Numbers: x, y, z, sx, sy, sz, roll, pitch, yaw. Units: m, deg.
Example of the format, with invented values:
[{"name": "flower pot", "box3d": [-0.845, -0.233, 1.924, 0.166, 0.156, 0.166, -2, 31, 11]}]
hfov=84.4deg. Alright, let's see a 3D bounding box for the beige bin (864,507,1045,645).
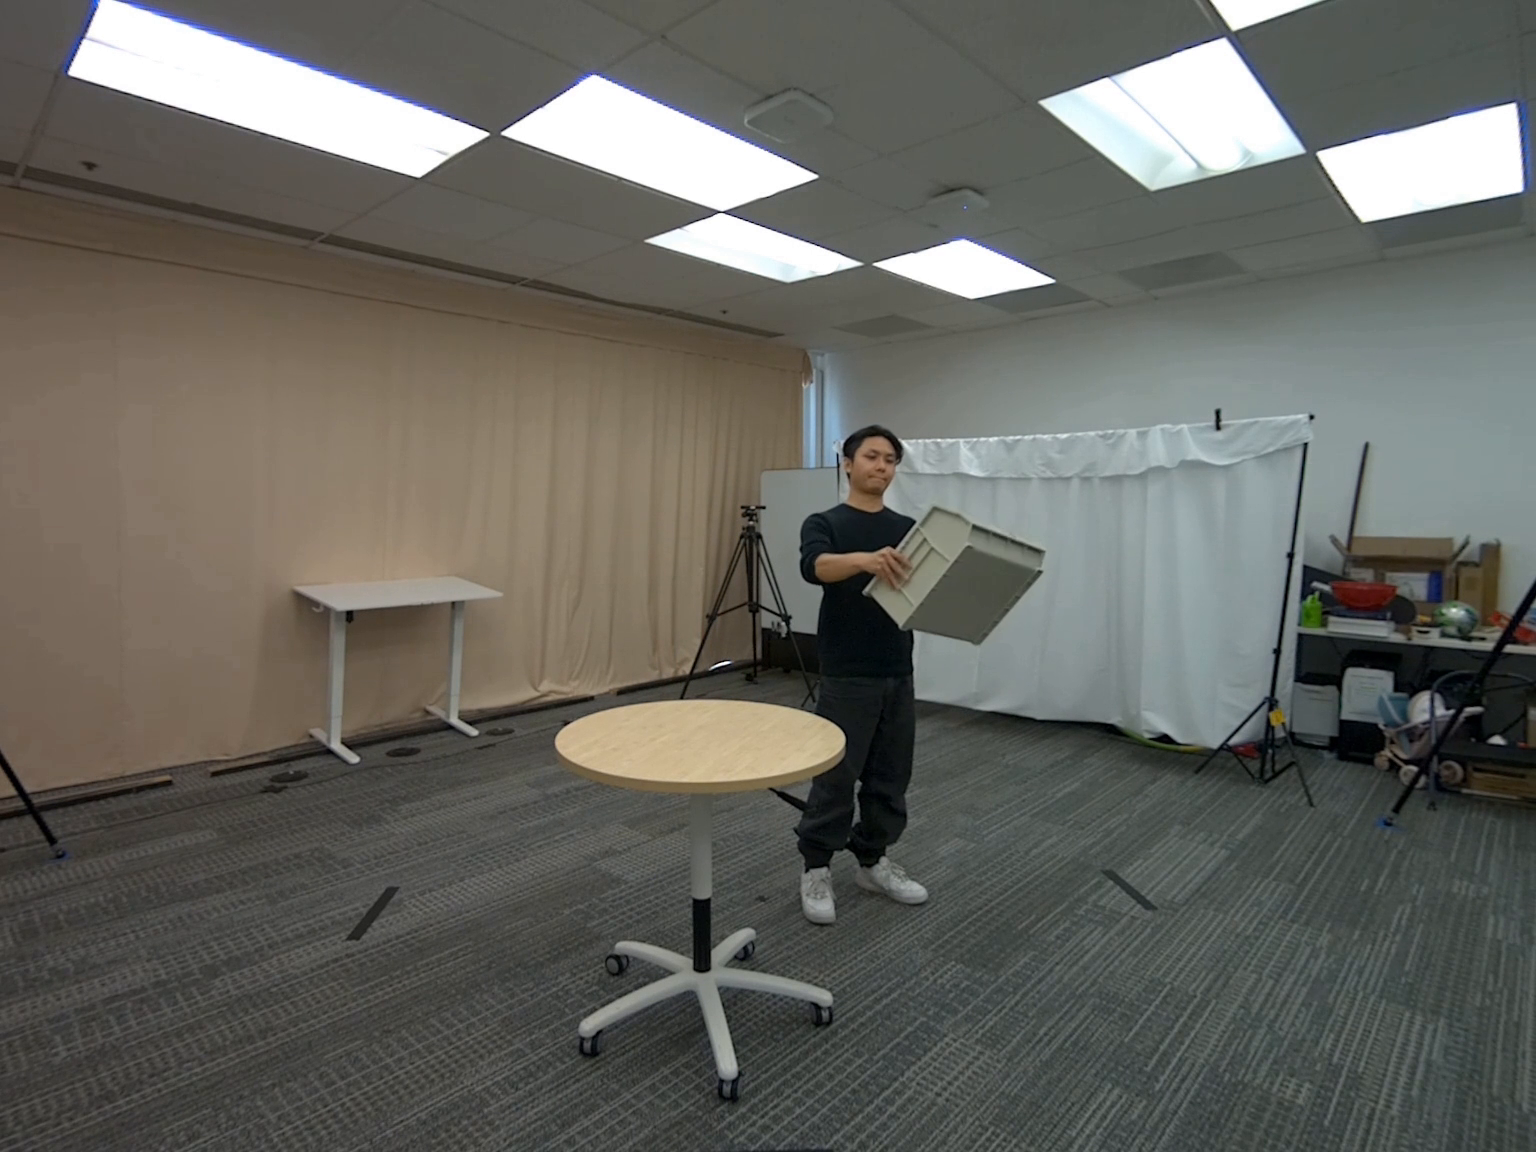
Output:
[{"name": "beige bin", "box3d": [0.581, -0.001, 2.527, 0.407, 0.378, 0.195, 14, 29, -41]}]
